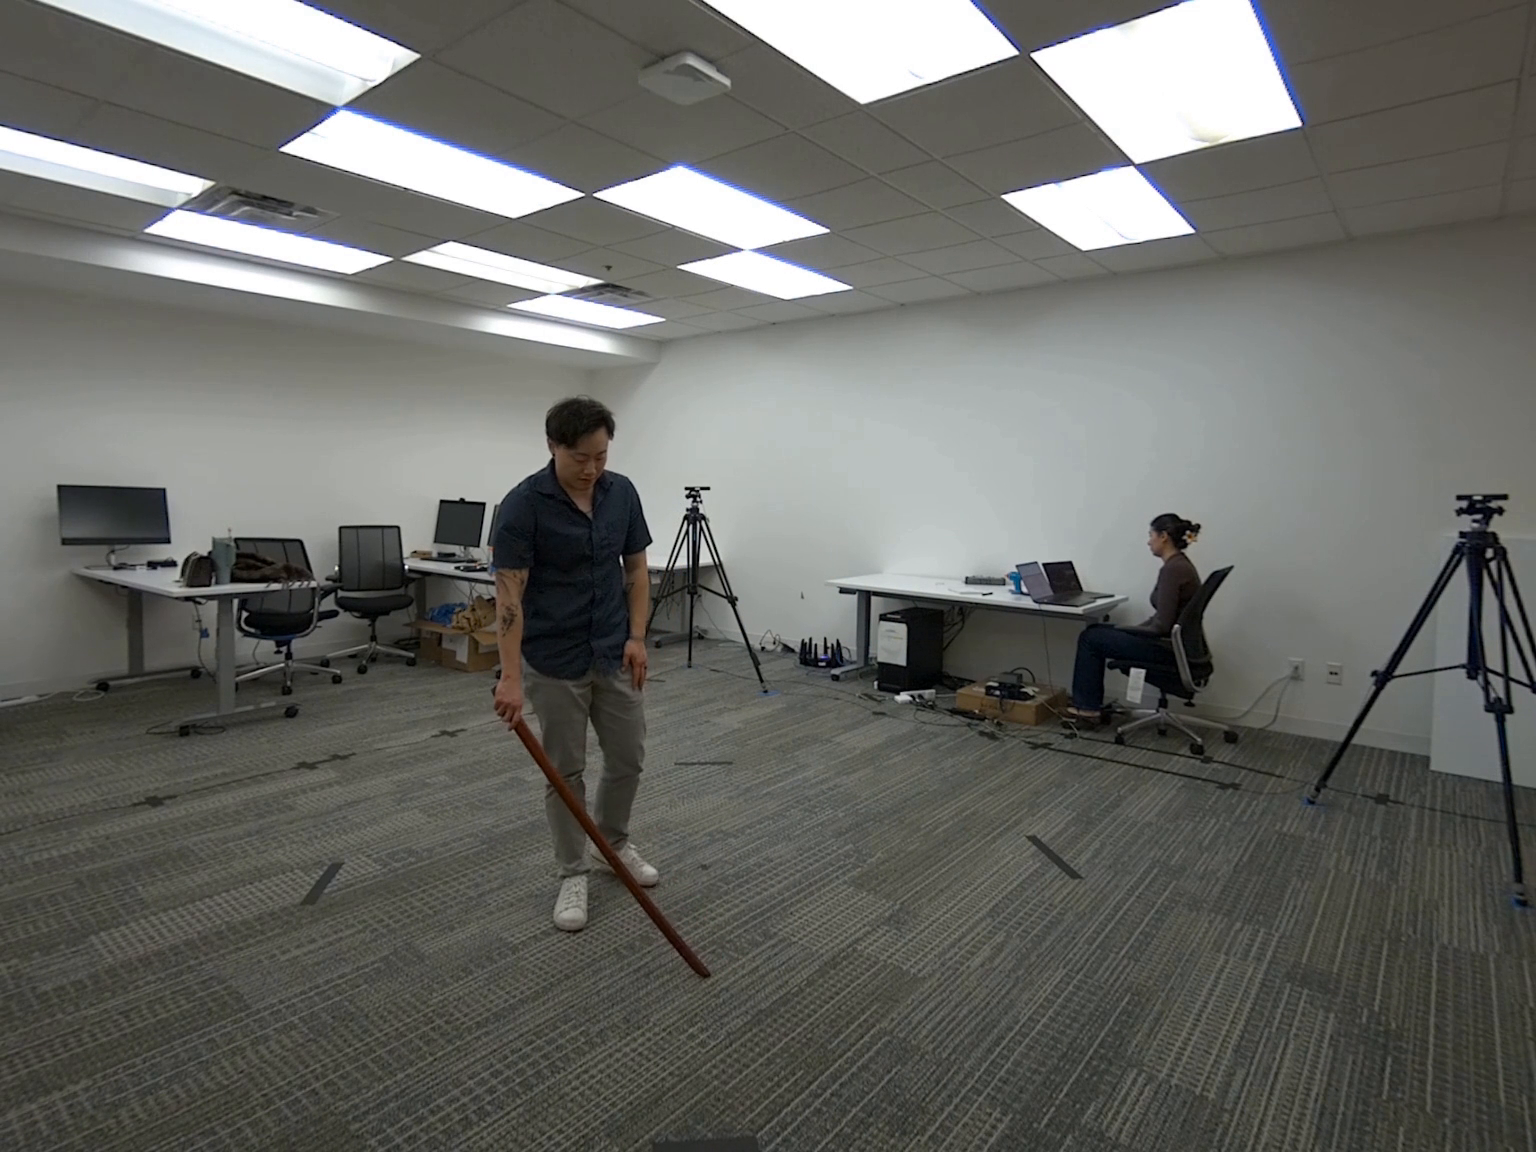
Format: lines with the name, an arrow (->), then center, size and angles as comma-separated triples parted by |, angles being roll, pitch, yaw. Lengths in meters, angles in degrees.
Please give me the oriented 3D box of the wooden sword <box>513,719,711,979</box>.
wooden sword -> -0.511, 0.739, 2.460 | 0.024, 1.029, 0.051 | -42, -3, 27
